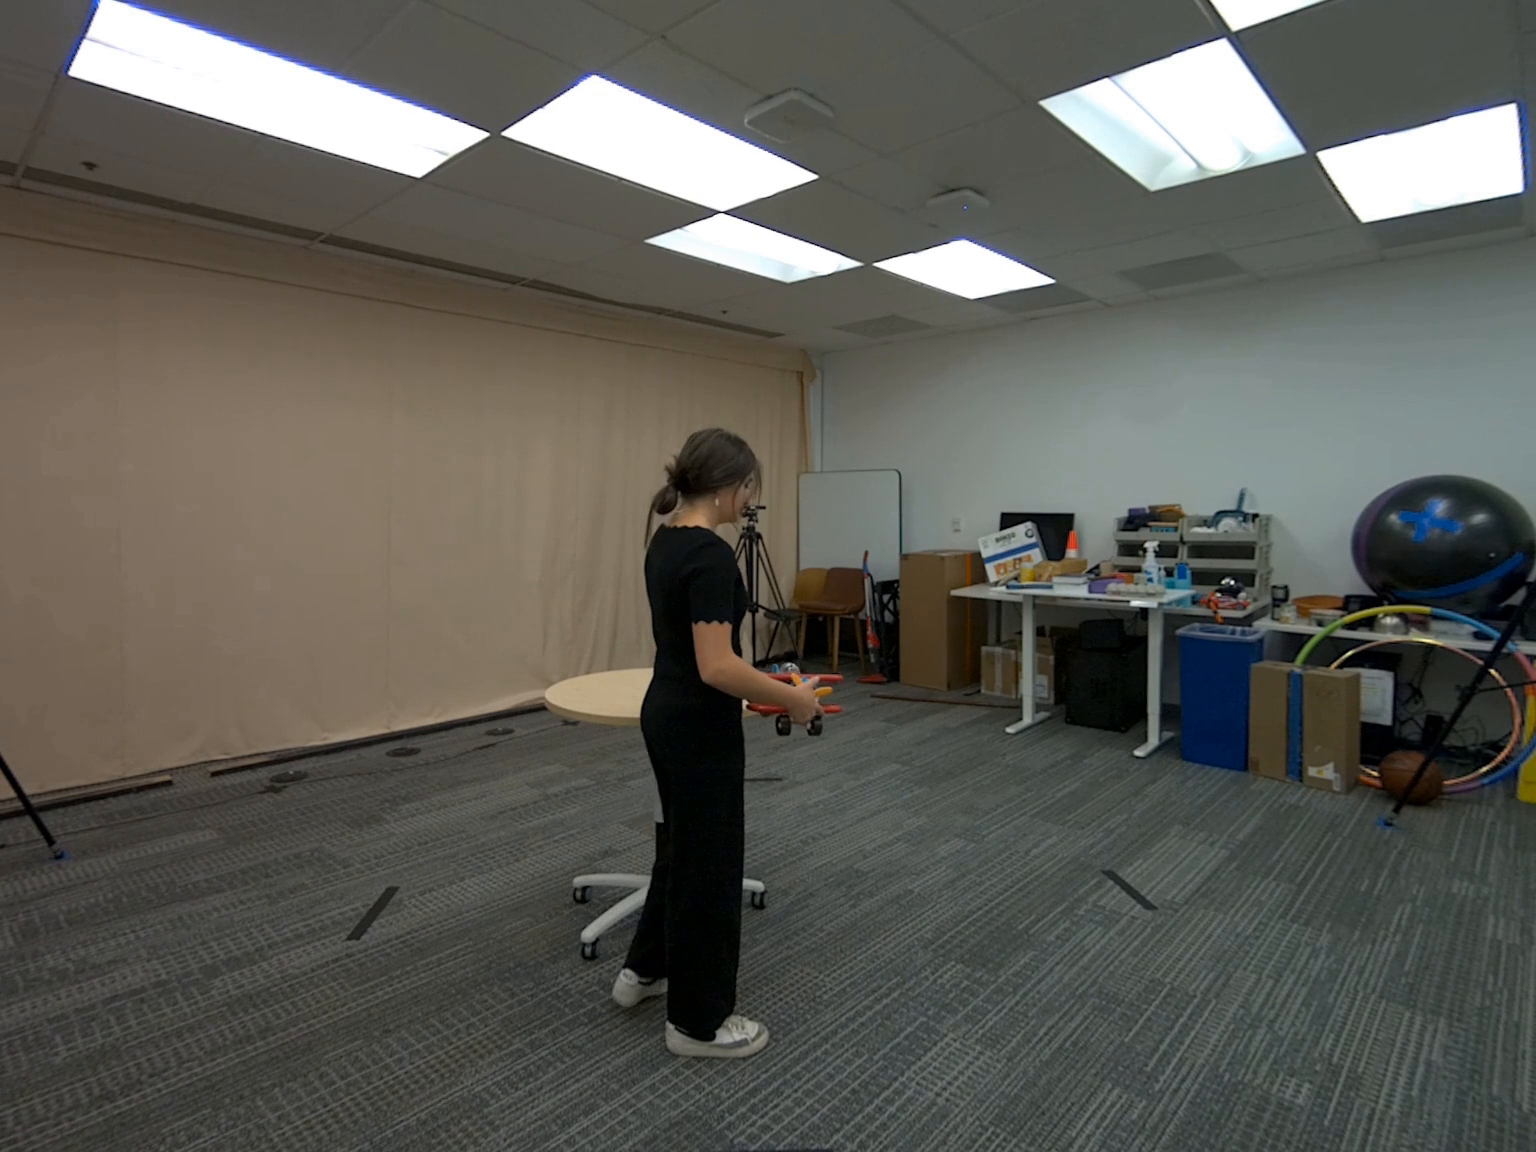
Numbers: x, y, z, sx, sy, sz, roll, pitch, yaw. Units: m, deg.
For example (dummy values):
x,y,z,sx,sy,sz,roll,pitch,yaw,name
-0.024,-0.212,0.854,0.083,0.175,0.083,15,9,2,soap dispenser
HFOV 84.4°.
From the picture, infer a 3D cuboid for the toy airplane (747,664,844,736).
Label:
x,y,z,sx,sy,sz,roll,pitch,yaw,name
0.043,0.312,2.189,0.243,0.155,0.269,-4,15,-44,toy airplane
